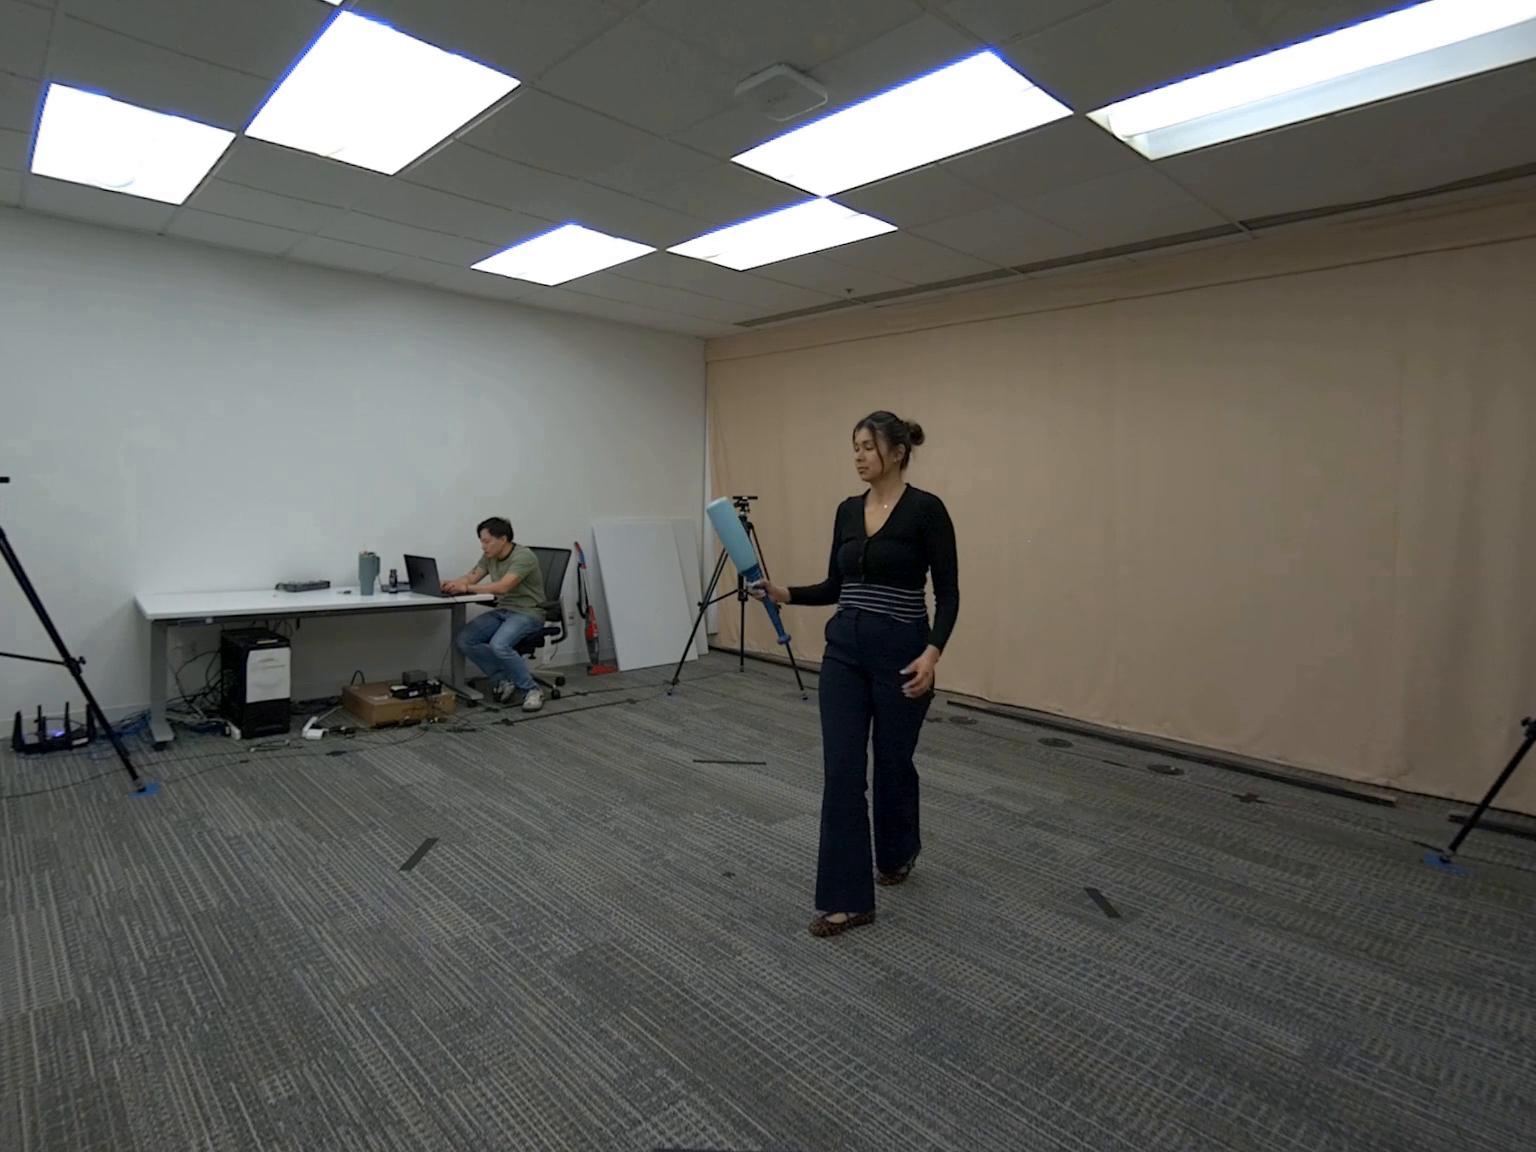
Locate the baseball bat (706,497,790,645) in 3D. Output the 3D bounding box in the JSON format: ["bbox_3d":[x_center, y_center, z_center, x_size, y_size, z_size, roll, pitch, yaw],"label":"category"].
[{"bbox_3d":[-0.045,-0.033,2.859,0.089,0.540,0.089,-26,6,2],"label":"baseball bat"}]
